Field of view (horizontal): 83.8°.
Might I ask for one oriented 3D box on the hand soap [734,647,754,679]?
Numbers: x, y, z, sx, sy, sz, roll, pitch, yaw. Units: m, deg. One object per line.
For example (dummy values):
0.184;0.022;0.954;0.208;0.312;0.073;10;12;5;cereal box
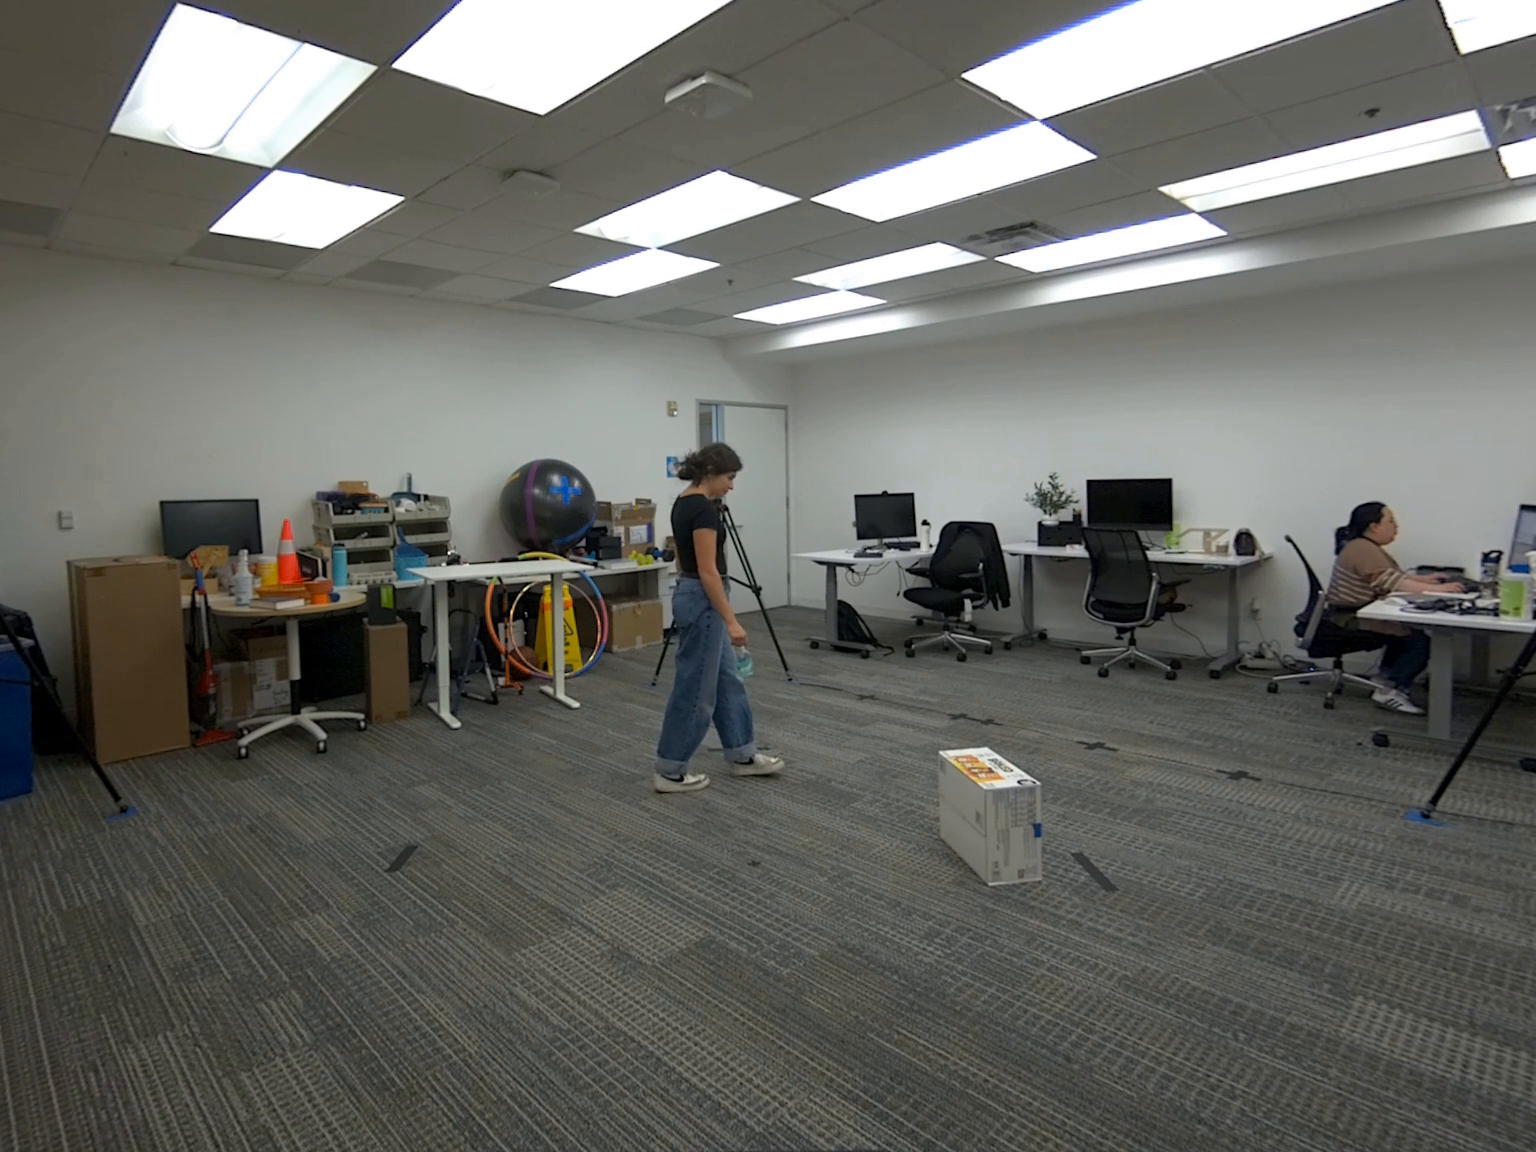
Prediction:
-0.114;0.352;3.716;0.084;0.166;0.044;-12;10;-5;hand soap
